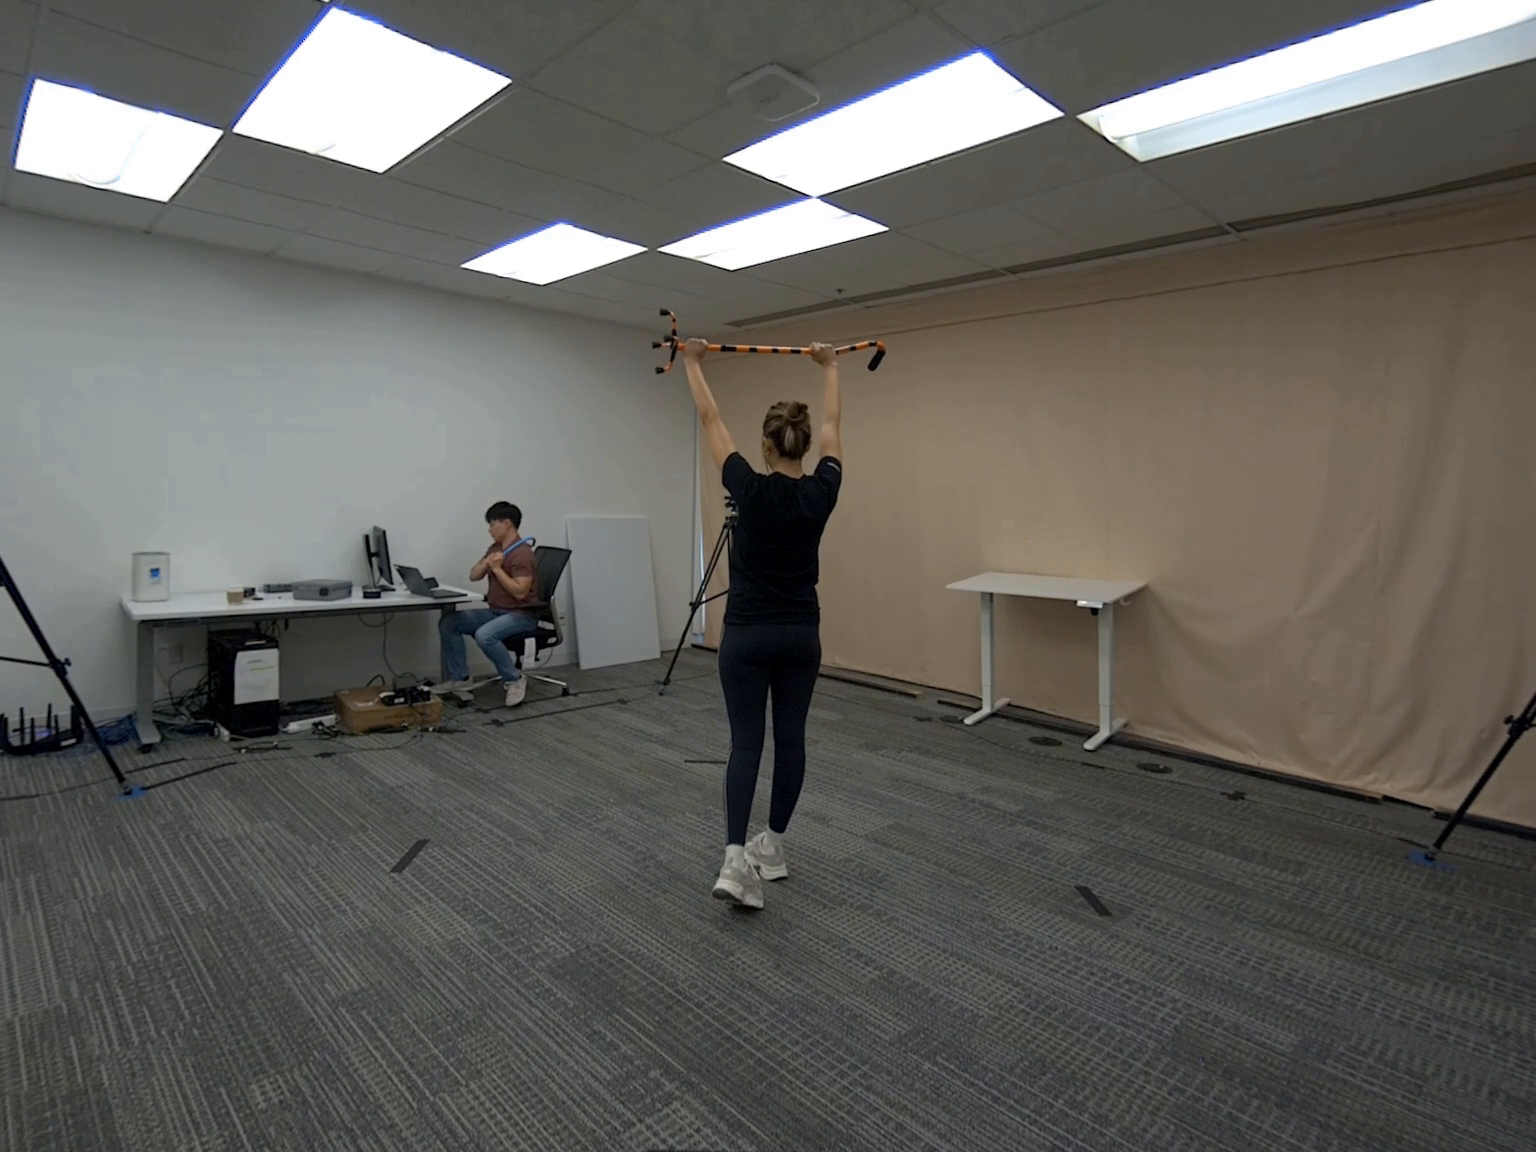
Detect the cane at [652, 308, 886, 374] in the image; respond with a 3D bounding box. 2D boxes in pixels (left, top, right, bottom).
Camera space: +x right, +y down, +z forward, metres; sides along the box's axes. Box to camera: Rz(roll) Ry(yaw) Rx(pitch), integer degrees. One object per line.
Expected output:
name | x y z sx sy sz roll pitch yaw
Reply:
cane | 0.028 -0.870 3.207 0.896 0.154 0.205 -2 -25 -16
